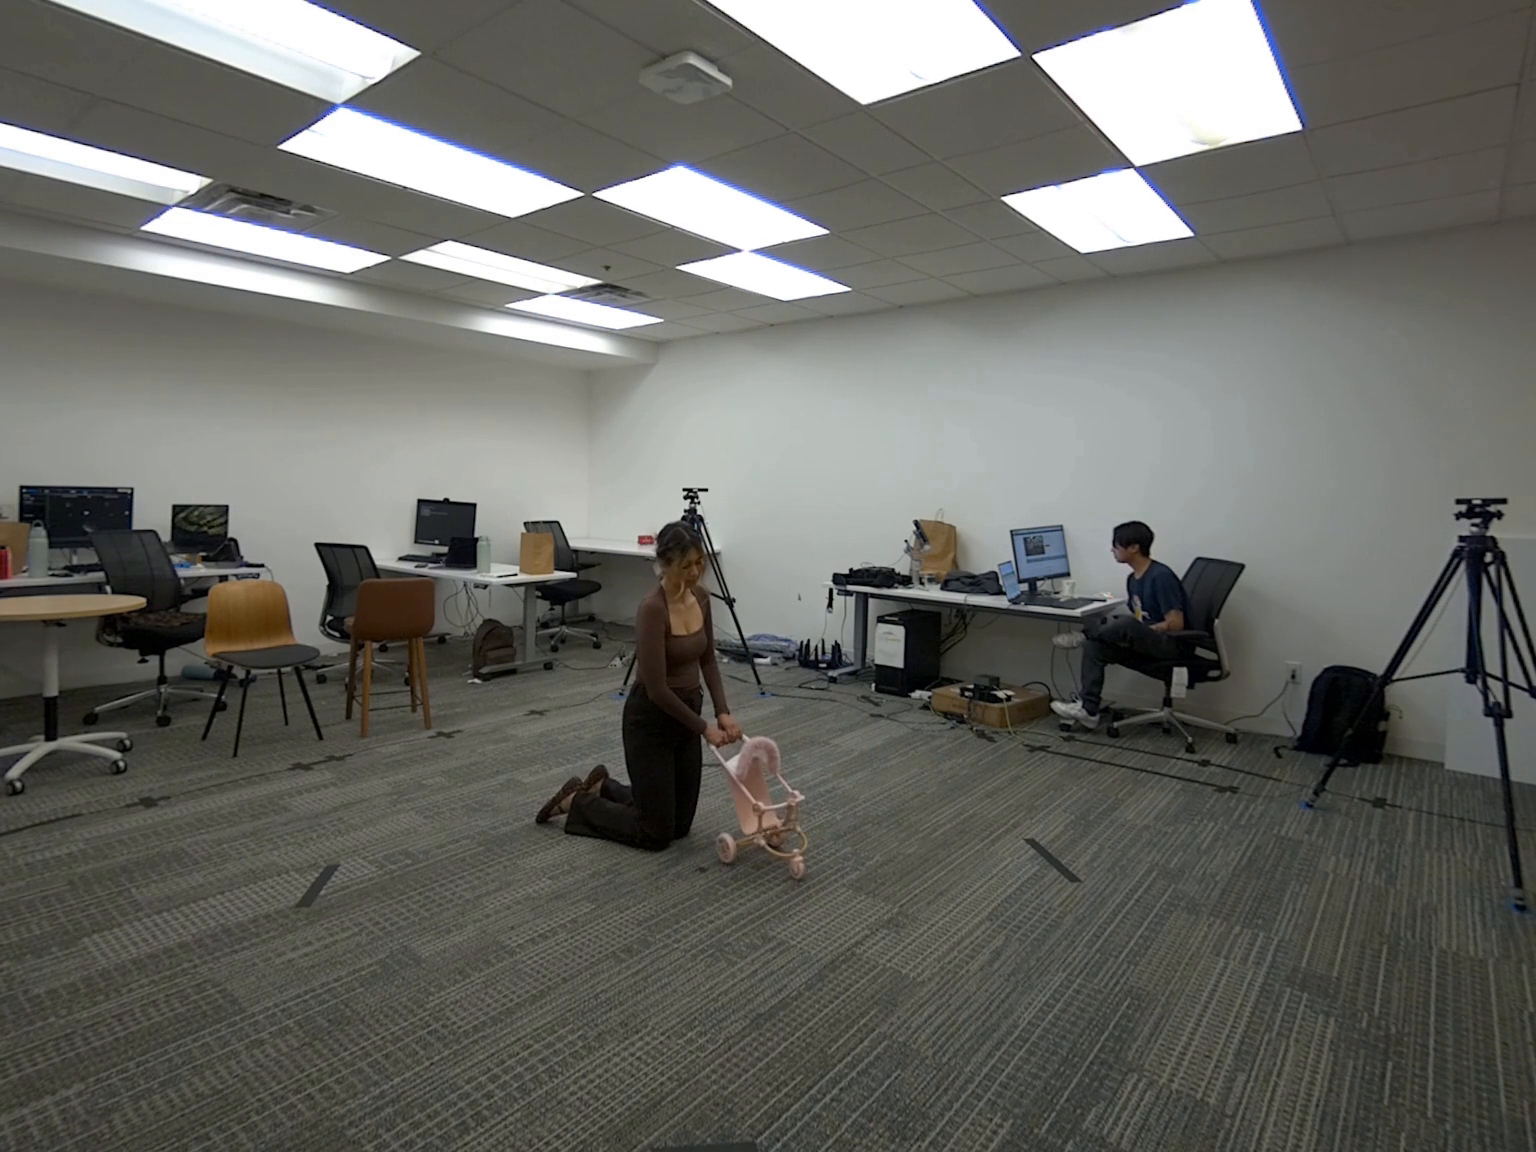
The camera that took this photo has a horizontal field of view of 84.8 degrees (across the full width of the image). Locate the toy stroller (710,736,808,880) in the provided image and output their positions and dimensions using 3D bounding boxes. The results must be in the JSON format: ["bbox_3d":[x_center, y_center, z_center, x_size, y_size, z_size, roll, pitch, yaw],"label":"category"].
[{"bbox_3d":[-0.025,0.841,3.180,0.273,0.541,0.347,-2,-12,-38],"label":"toy stroller"}]
